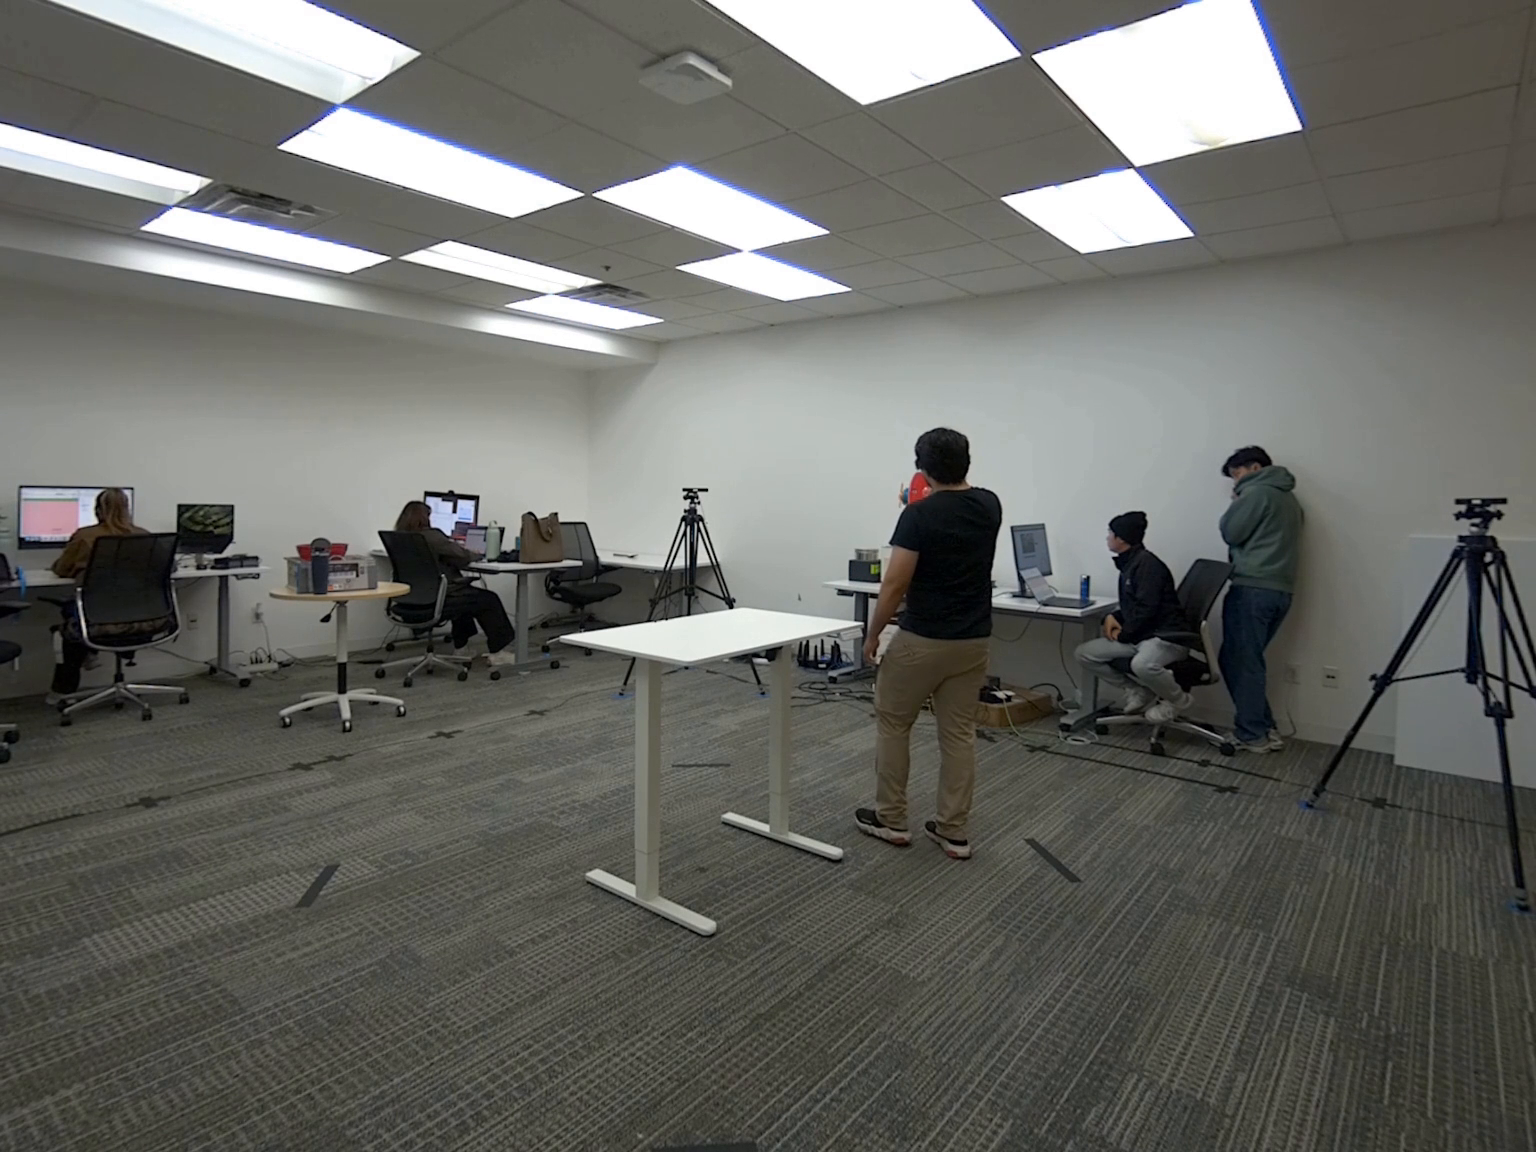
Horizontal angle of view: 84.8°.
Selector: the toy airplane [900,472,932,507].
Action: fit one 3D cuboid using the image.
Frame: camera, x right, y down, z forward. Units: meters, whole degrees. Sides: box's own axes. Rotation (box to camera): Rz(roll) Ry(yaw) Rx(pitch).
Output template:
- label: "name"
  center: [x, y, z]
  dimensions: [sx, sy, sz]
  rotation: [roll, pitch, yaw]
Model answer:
- label: "toy airplane"
  center: [0.738, -0.370, 3.968]
  dimensions: [0.260, 0.260, 0.150]
  rotation: [-21, -38, 3]
